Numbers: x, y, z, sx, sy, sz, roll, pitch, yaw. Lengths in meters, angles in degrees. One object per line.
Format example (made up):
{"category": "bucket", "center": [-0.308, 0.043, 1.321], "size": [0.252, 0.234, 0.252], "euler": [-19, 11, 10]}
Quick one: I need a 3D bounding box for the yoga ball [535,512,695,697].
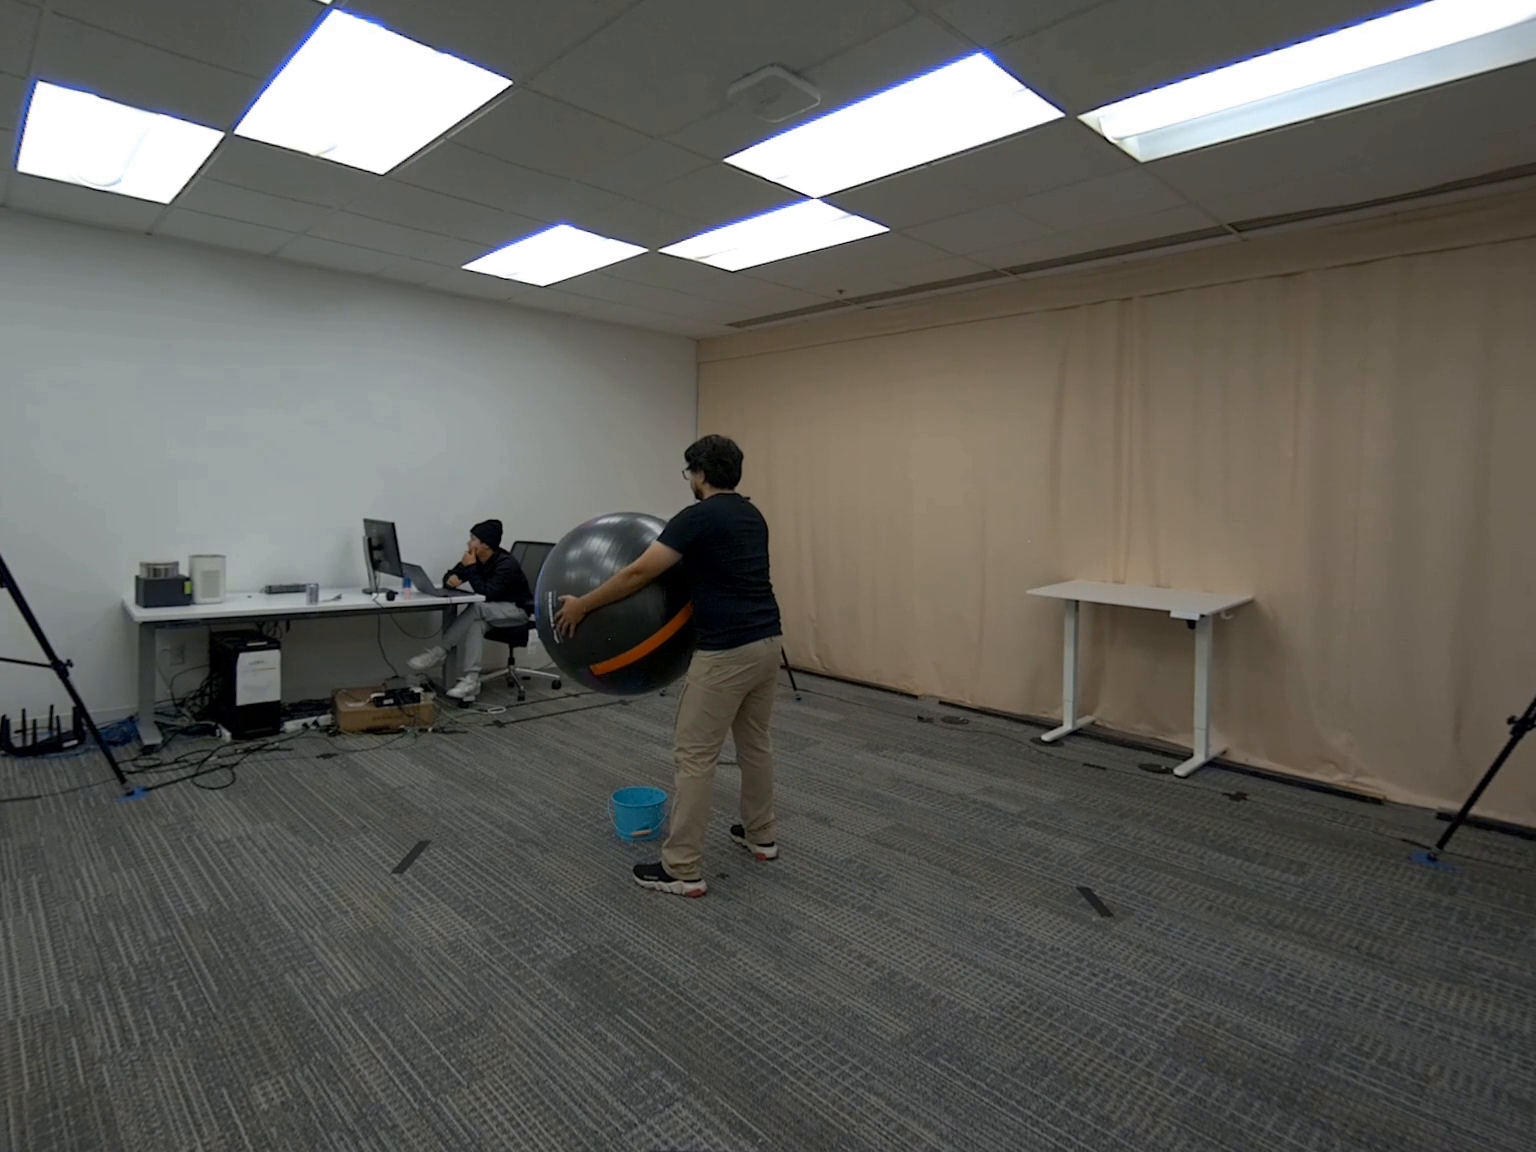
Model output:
{"category": "yoga ball", "center": [-0.594, 0.119, 3.516], "size": [0.757, 0.756, 0.761], "euler": [1, 4, -1]}
